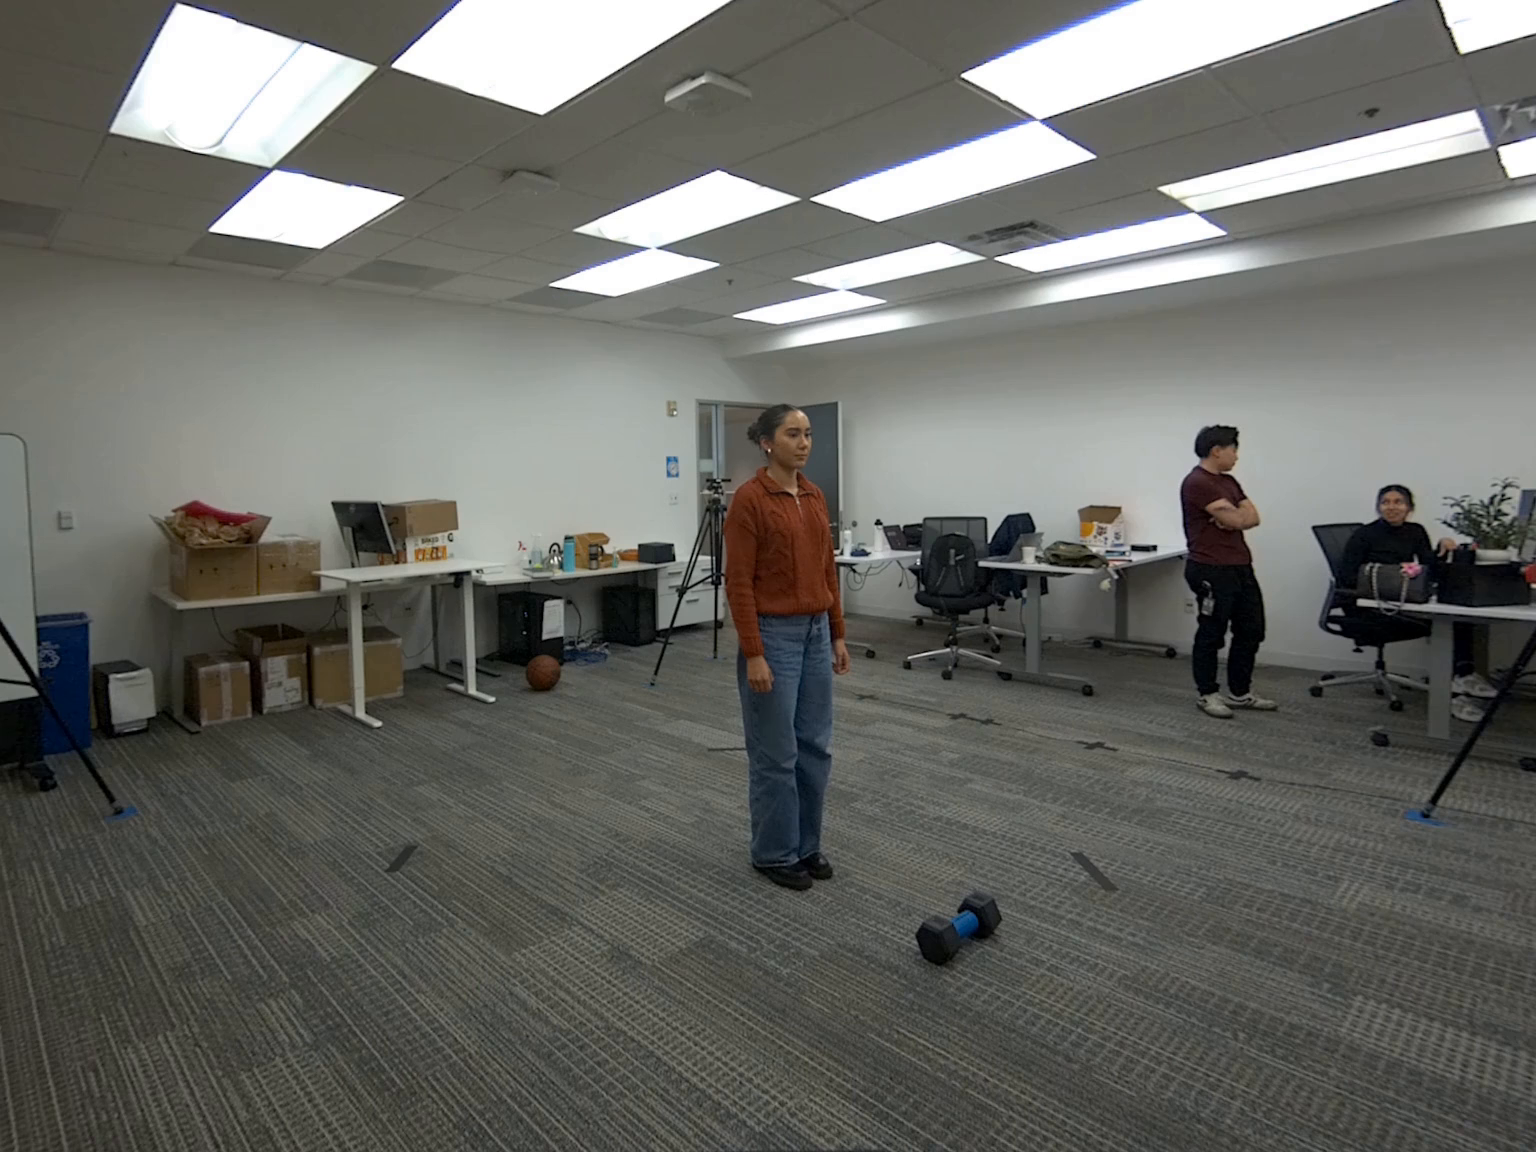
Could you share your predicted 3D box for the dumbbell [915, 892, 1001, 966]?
[{"bbox_3d":[0.577,1.048,2.536,0.286,0.125,0.109,-6,-23,-41],"label":"dumbbell"}]
